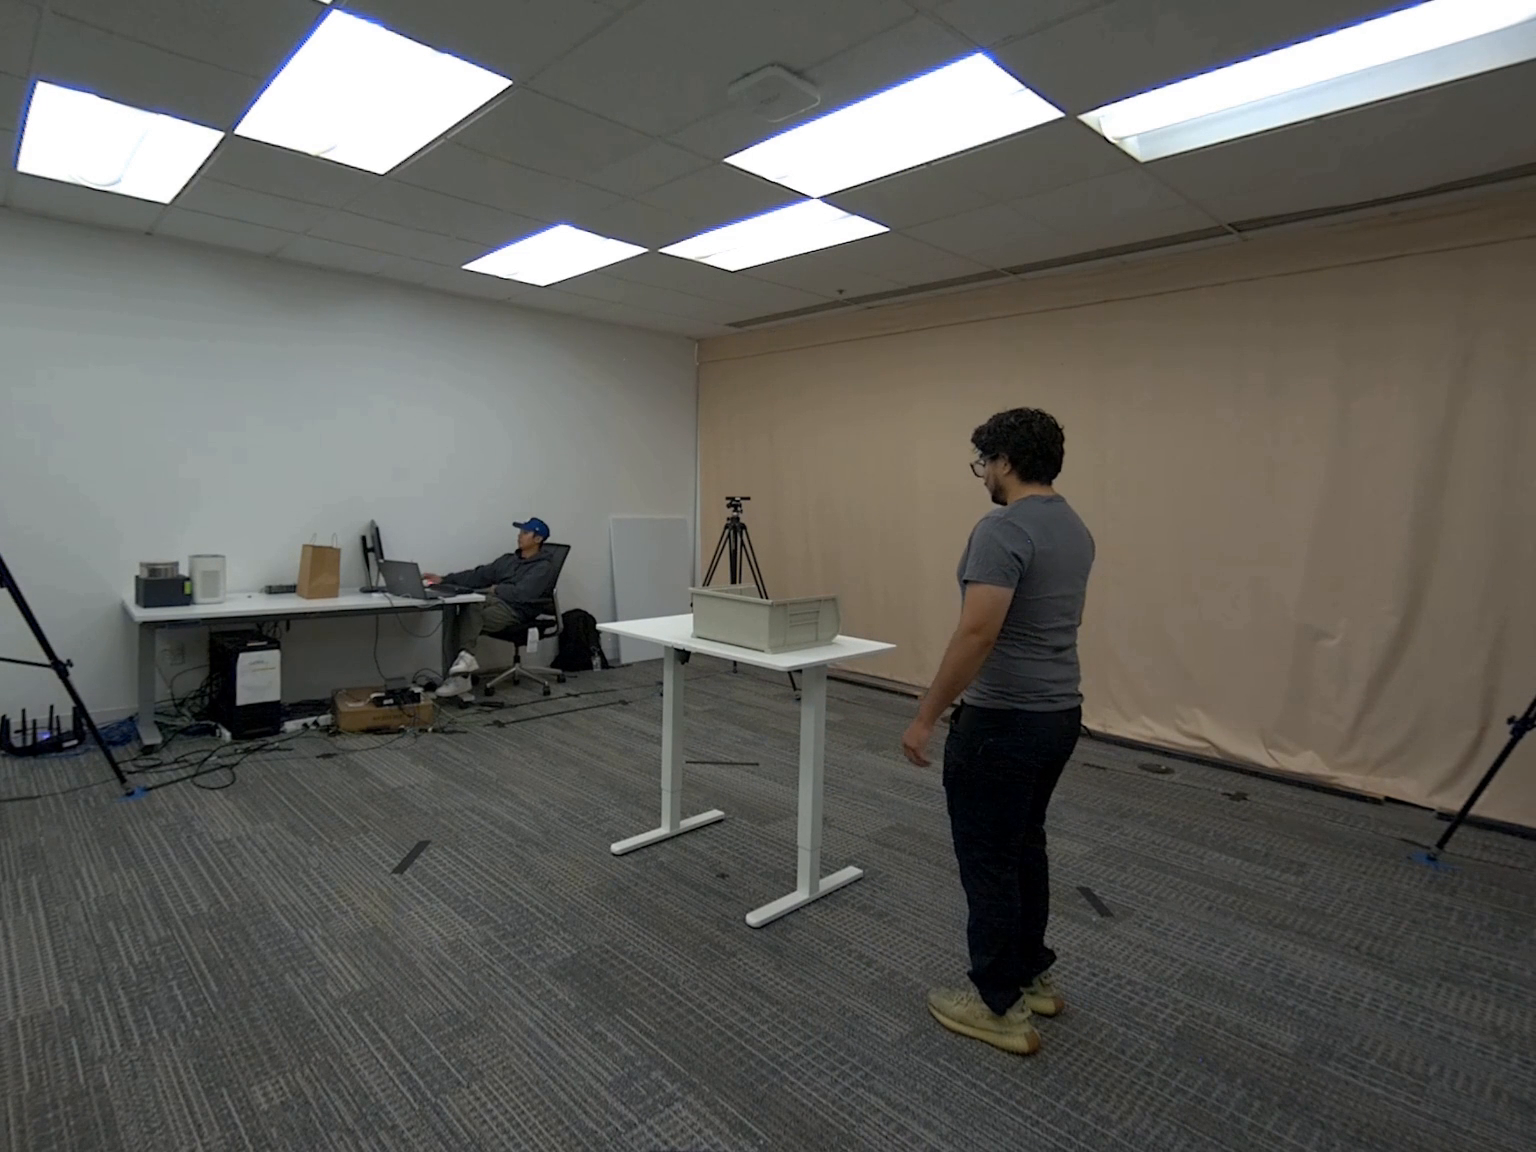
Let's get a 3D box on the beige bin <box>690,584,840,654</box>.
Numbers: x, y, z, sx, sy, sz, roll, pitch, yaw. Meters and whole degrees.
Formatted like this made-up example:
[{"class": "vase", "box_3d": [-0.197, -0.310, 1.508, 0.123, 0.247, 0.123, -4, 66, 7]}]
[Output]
[{"class": "beige bin", "box_3d": [-0.015, 0.146, 3.036, 0.369, 0.188, 0.433, -5, 9, -45]}]
